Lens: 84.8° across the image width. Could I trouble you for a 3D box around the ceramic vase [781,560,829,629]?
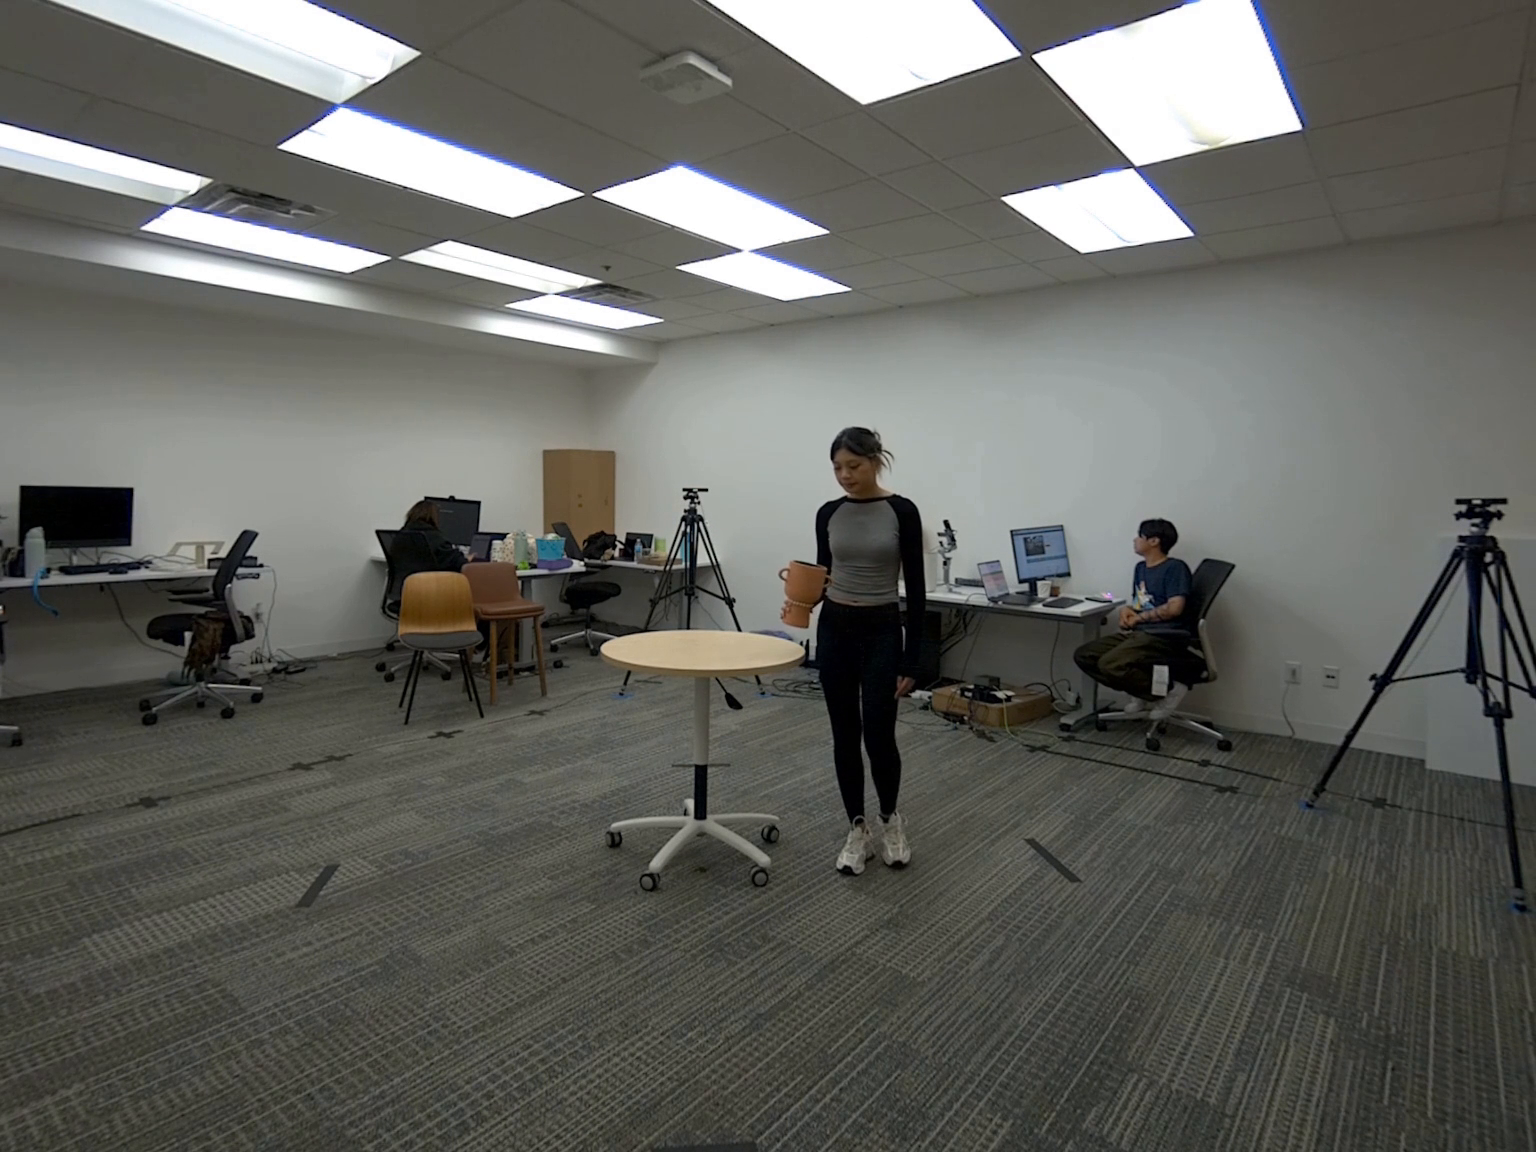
[{"bbox_3d":[0.112,0.062,2.996,0.164,0.219,0.131,15,7,25],"label":"ceramic vase"}]
